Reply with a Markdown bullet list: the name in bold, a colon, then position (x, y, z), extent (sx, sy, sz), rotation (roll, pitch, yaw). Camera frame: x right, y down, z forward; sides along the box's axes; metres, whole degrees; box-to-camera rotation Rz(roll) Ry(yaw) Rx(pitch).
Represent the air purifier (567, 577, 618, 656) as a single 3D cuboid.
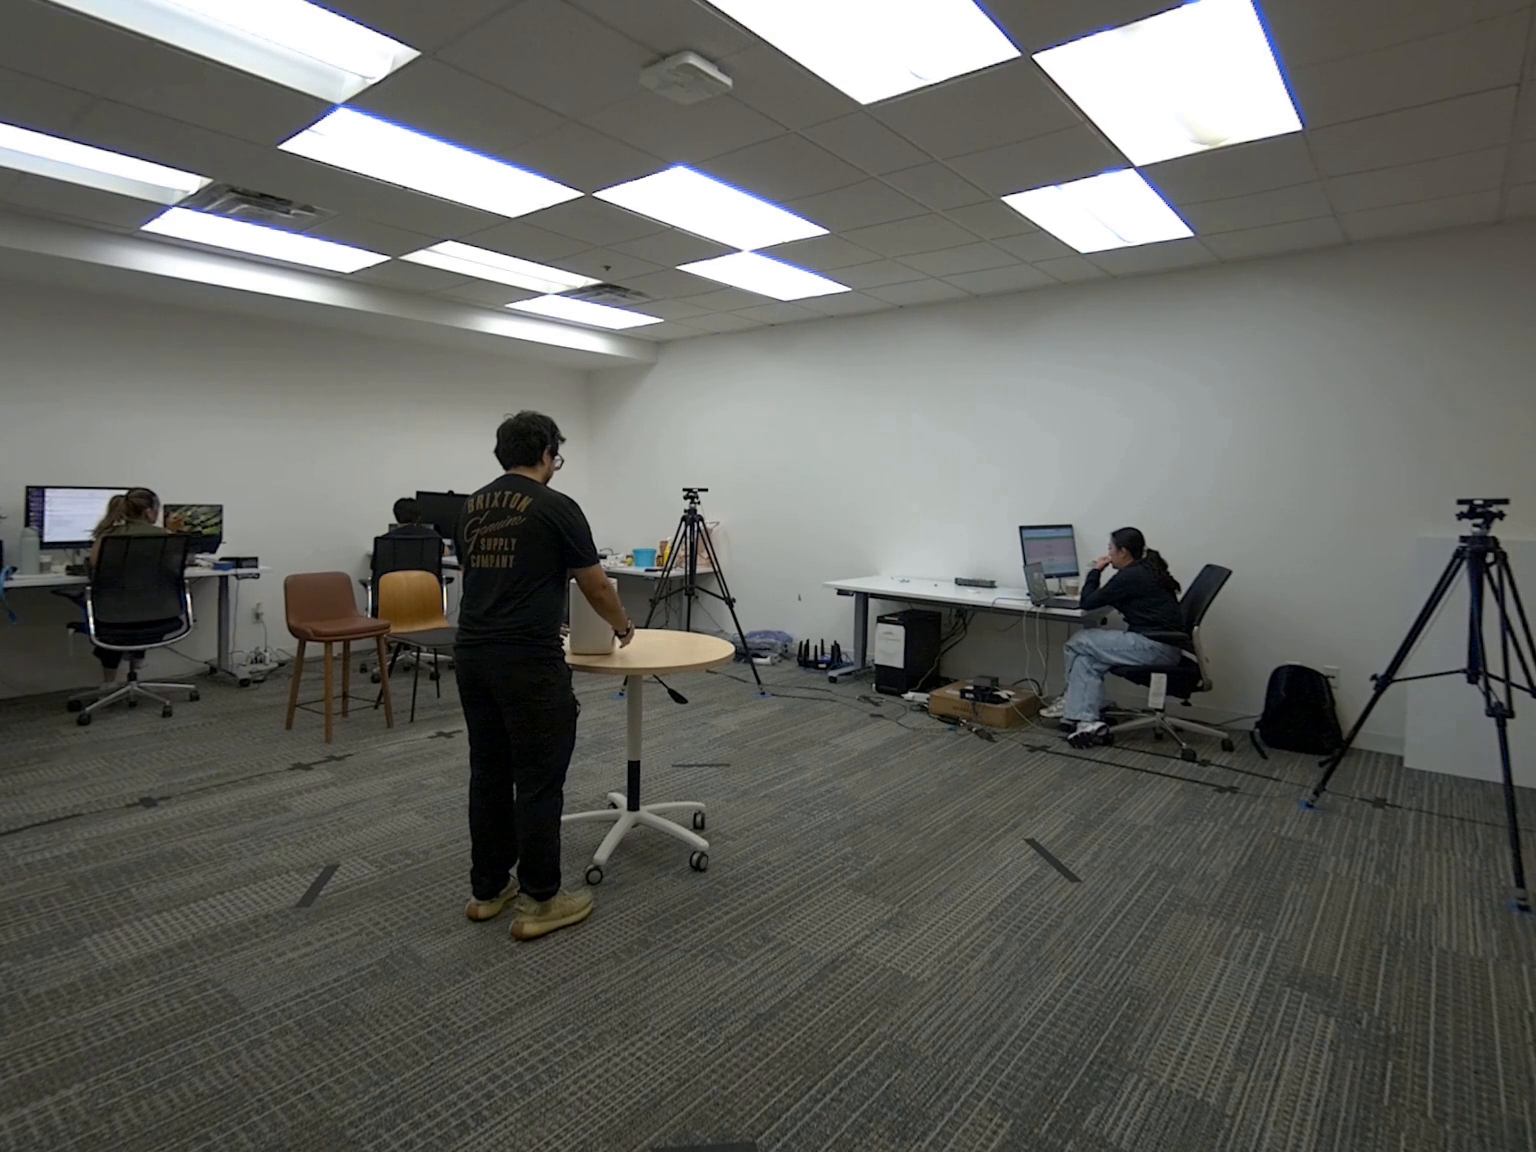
- **air purifier**: position (-0.653, 0.144, 3.148), extent (0.170, 0.265, 0.173), rotation (1, 3, -4)
